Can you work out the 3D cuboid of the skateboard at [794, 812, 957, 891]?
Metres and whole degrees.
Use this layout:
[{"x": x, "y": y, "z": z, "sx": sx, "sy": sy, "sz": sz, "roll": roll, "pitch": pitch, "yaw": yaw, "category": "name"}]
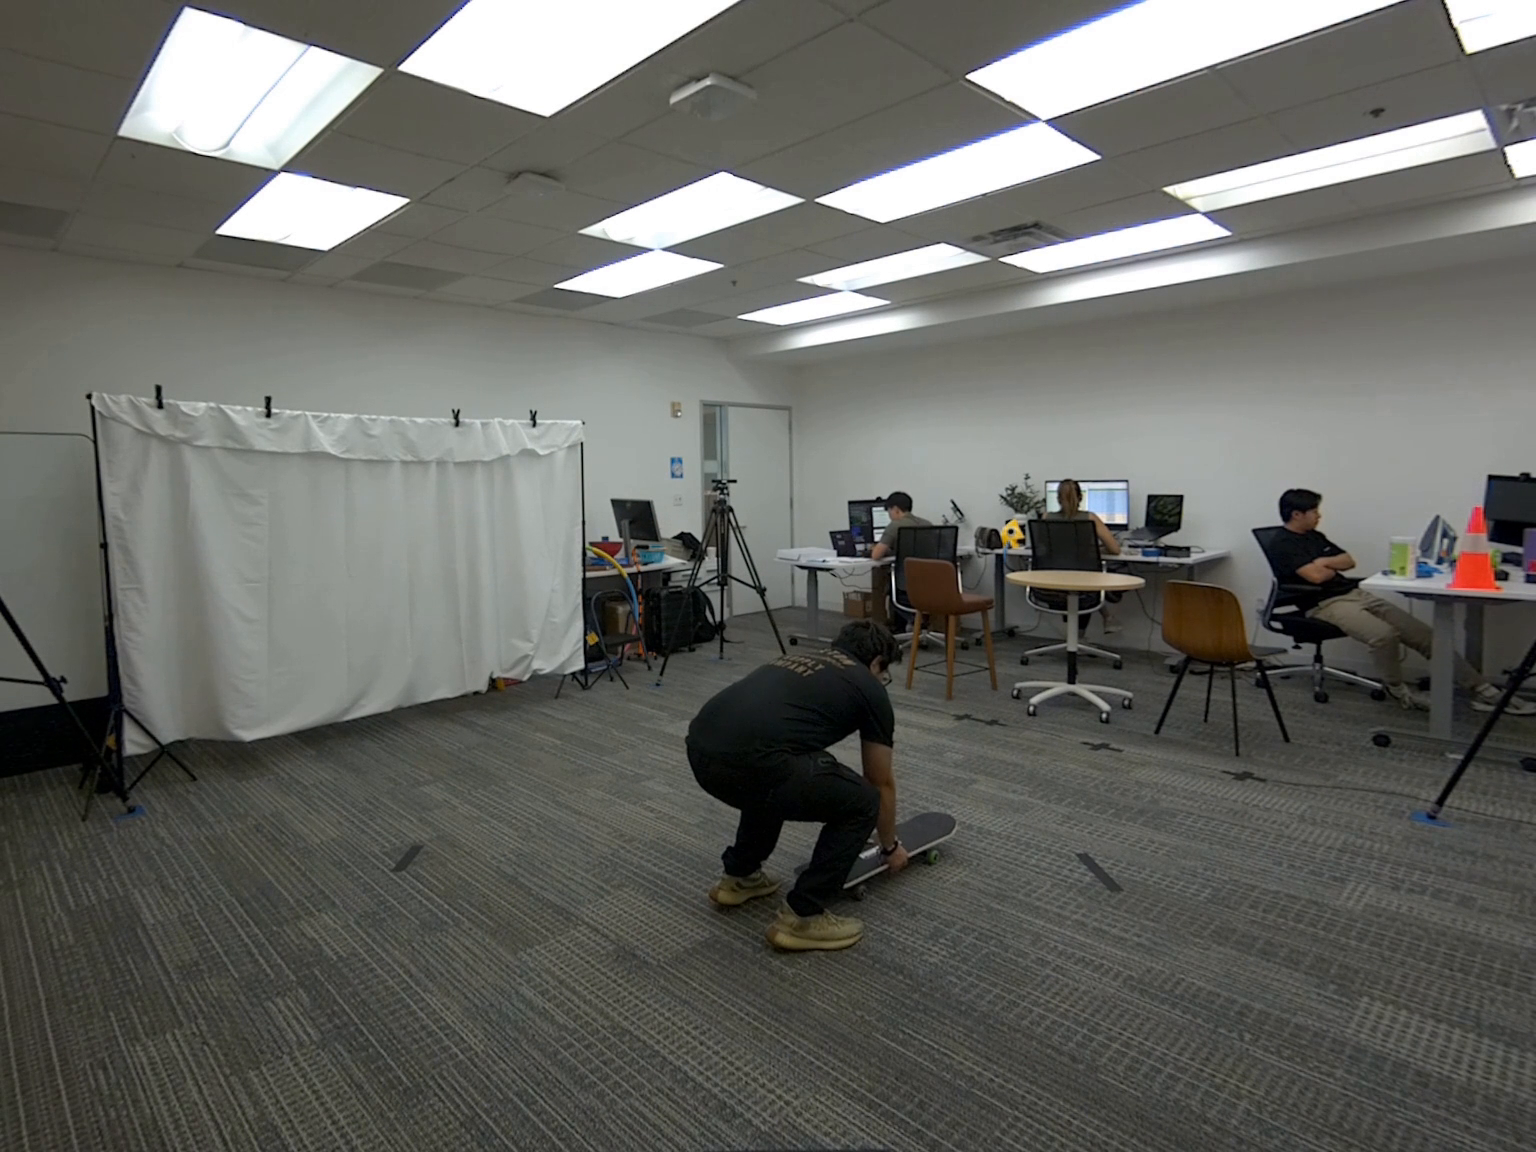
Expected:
[{"x": 0.397, "y": 0.995, "z": 3.009, "sx": 0.765, "sy": 0.110, "sz": 0.199, "roll": -8, "pitch": 9, "yaw": -42, "category": "skateboard"}]
